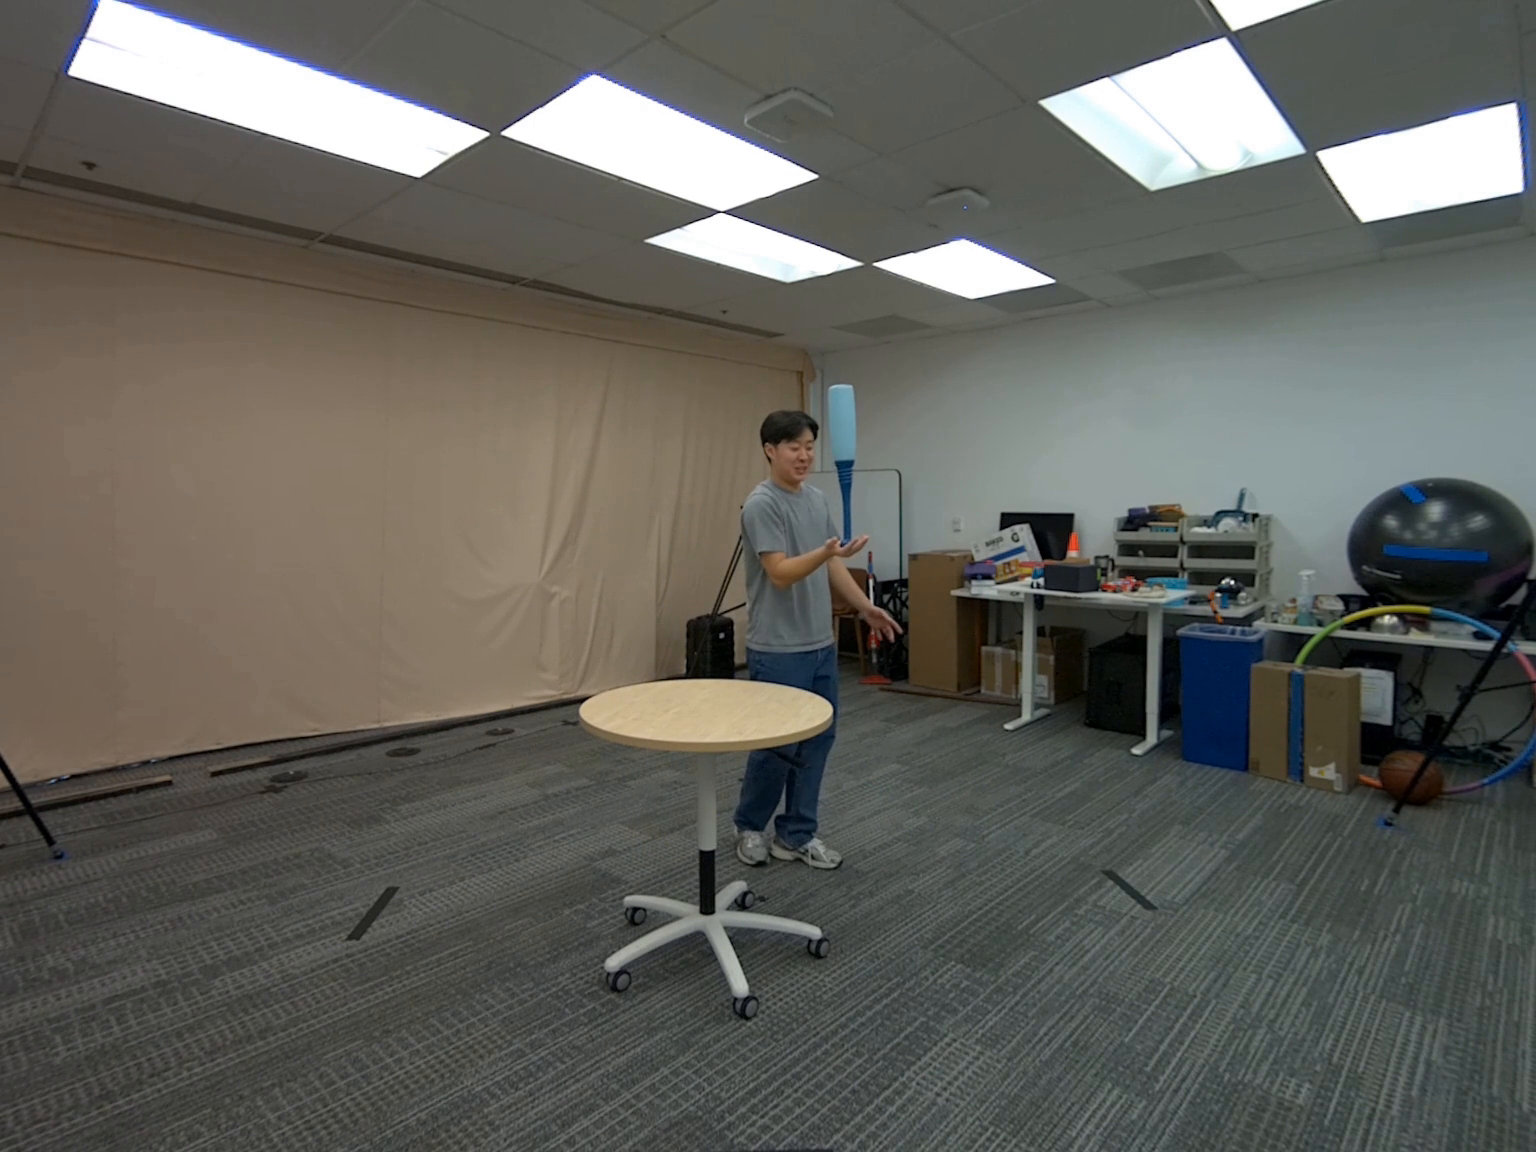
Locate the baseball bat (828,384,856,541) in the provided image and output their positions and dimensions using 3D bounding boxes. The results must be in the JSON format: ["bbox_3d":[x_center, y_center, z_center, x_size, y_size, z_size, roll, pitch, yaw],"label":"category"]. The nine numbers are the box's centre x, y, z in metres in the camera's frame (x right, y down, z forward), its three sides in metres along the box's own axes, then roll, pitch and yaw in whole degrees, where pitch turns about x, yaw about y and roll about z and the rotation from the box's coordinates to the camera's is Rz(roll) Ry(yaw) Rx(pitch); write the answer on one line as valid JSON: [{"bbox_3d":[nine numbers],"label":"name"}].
[{"bbox_3d":[0.265,-0.367,2.818,0.089,0.541,0.089,-3,4,-2],"label":"baseball bat"}]
